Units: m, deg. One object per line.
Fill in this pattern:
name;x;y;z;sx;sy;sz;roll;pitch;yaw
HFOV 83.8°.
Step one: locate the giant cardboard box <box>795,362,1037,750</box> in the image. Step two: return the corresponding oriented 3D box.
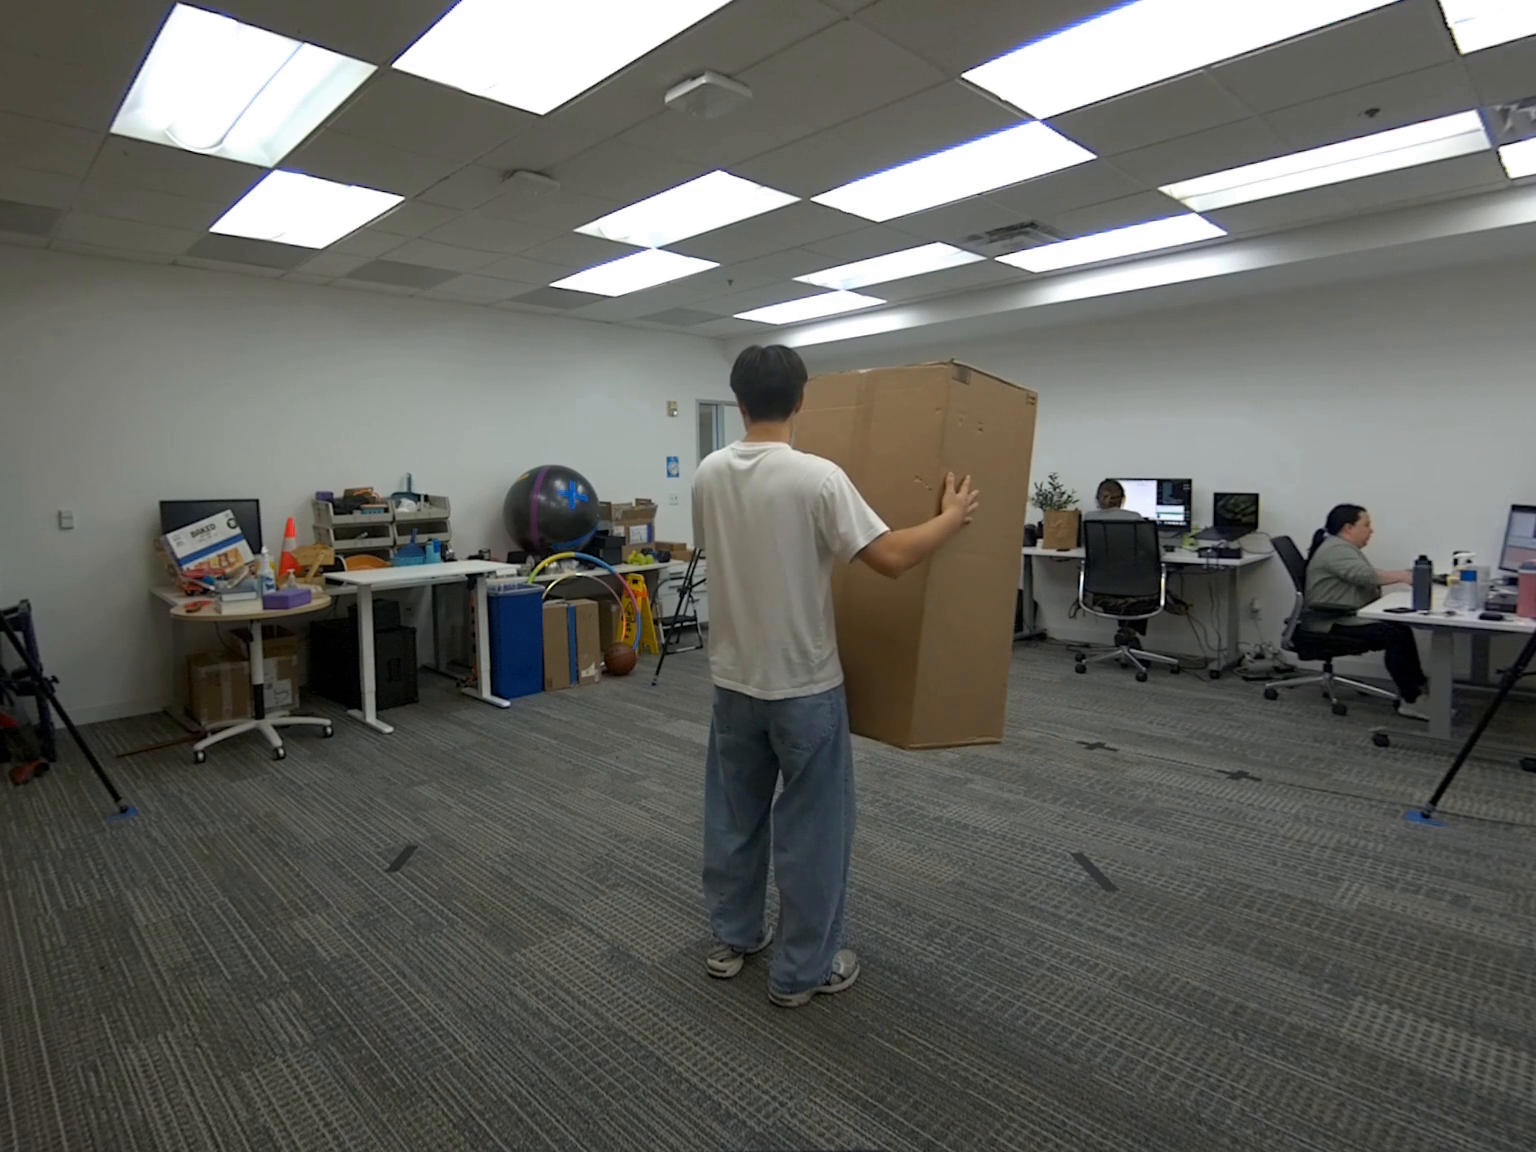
giant cardboard box;0.392;-0.066;2.562;0.413;1.027;0.595;8;-2;-41
